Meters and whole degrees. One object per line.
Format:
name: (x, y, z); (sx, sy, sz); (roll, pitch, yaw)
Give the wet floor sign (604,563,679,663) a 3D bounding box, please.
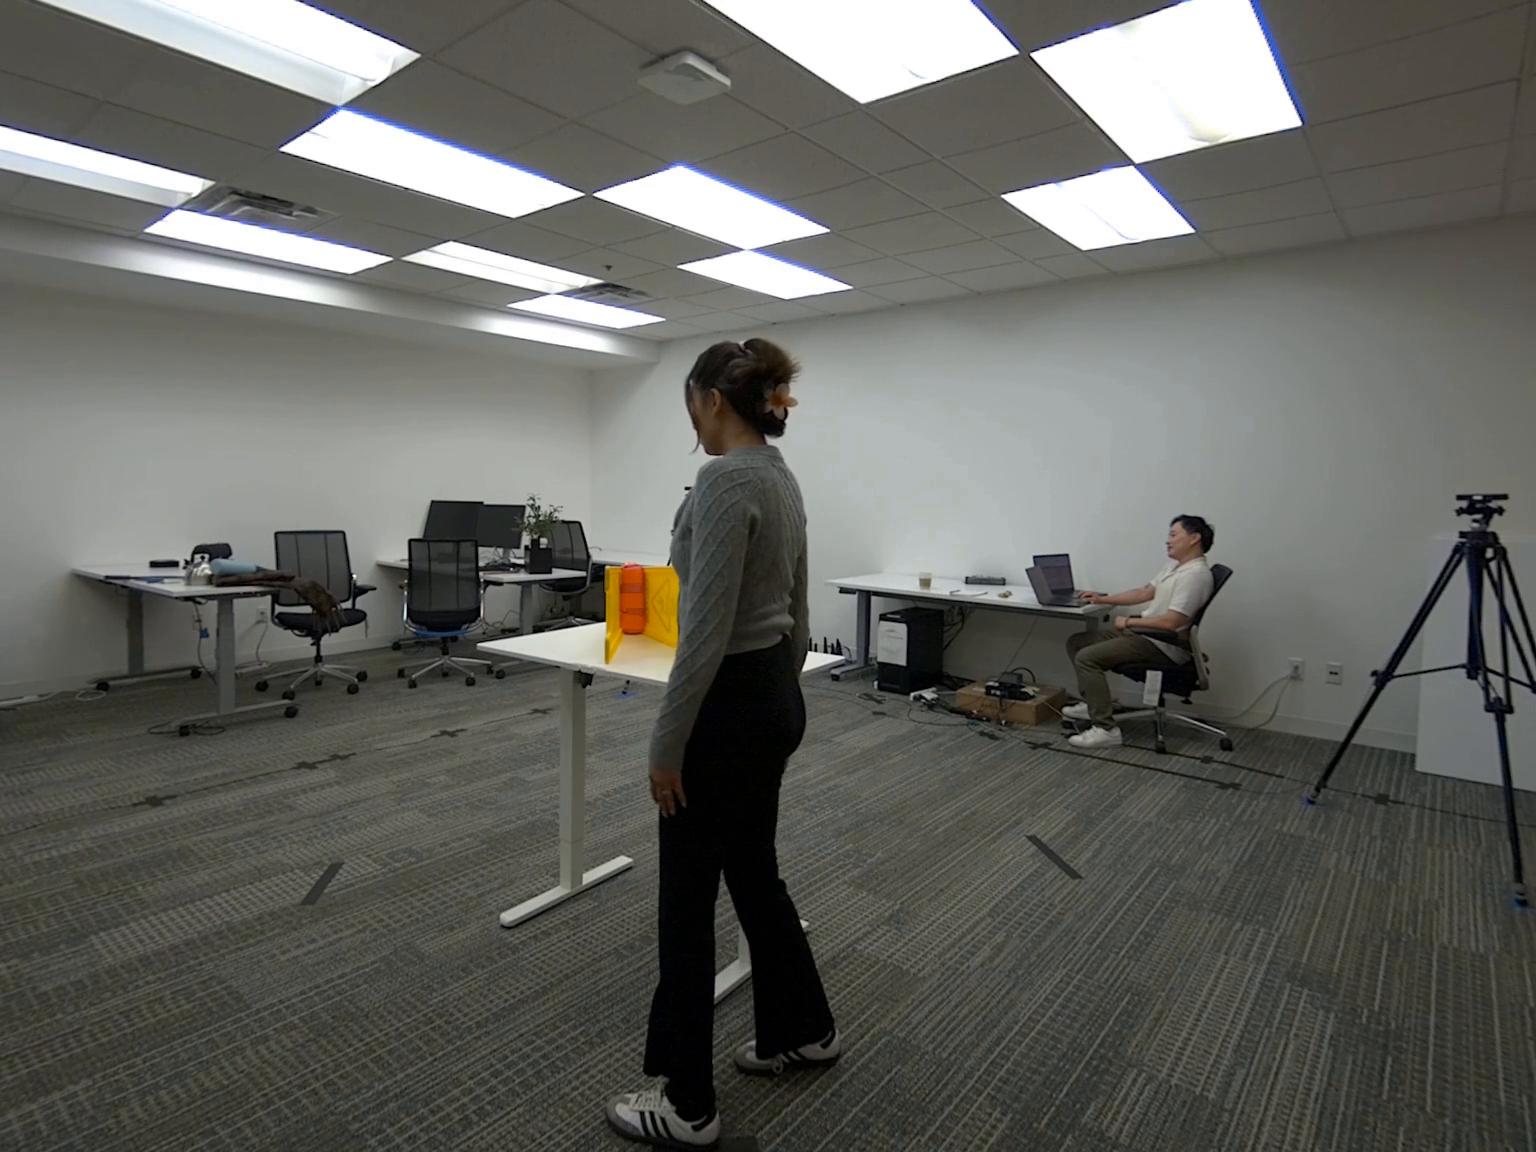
wet floor sign: (-0.434, 0.093, 2.778); (0.285, 0.282, 0.658); (0, 3, -17)
